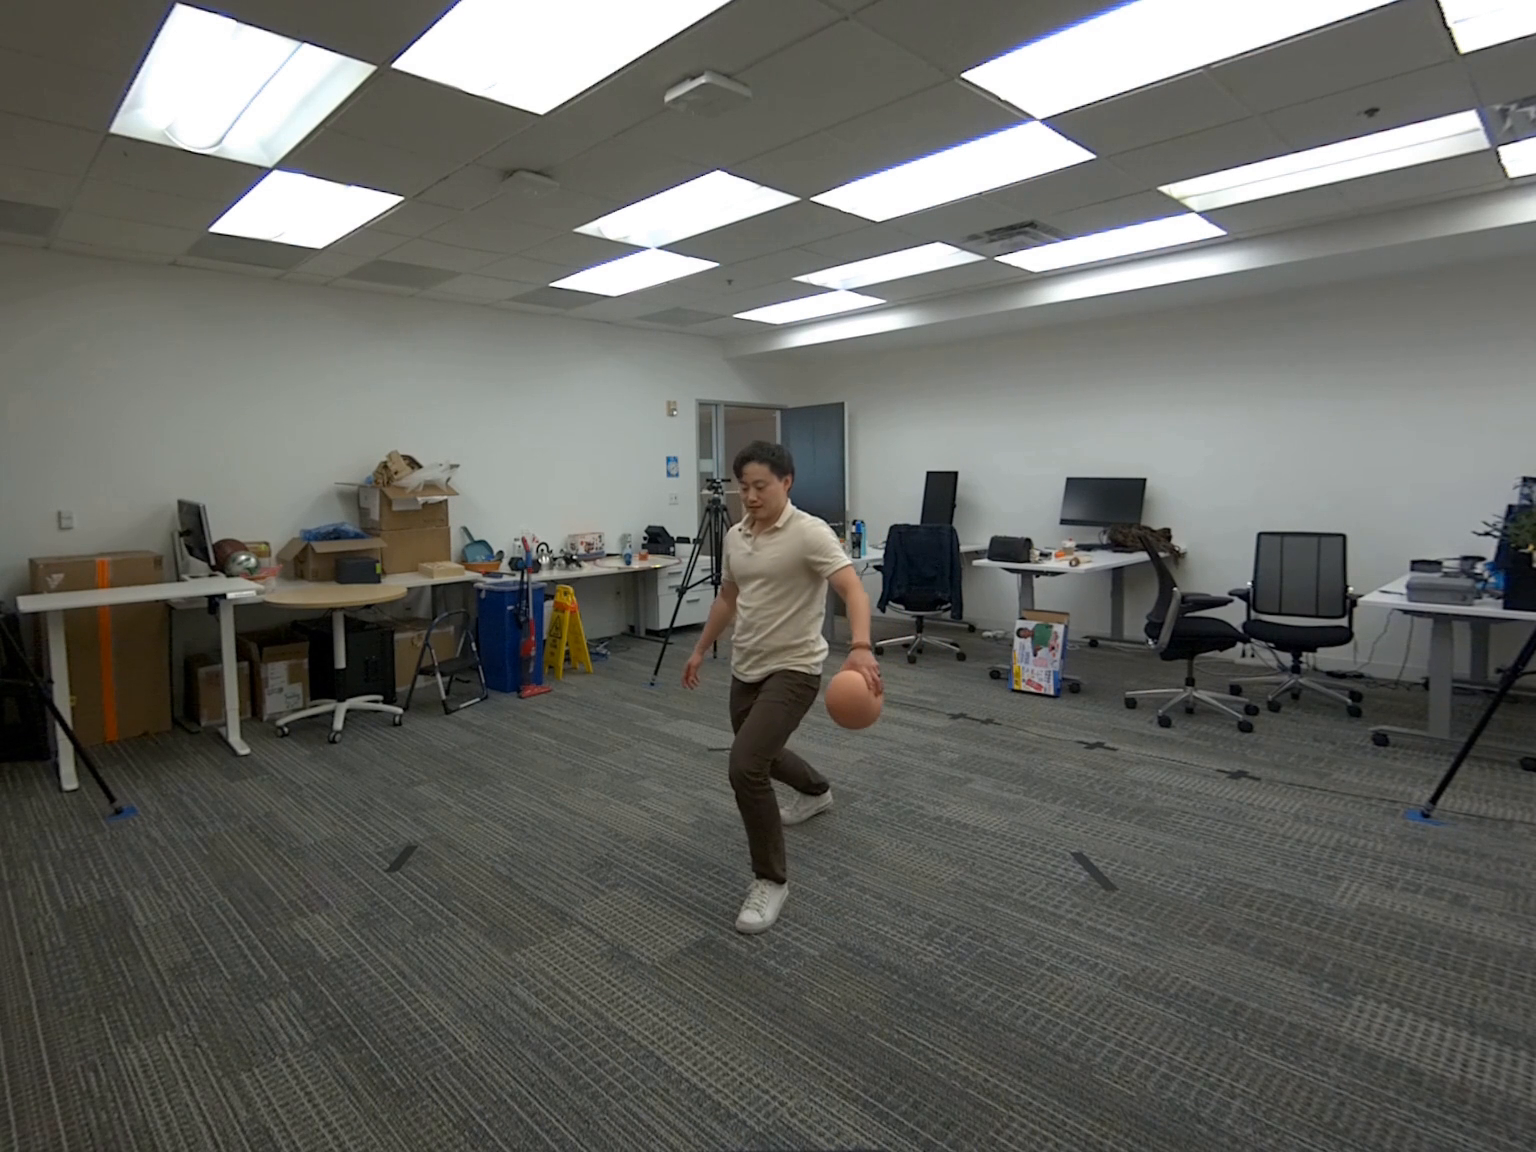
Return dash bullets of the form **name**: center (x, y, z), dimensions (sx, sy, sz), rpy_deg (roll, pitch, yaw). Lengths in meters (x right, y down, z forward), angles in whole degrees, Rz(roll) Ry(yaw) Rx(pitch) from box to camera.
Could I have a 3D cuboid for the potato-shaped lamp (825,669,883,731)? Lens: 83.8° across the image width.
- **potato-shaped lamp**: center (0.264, 0.365, 2.575), dimensions (0.170, 0.171, 0.191), rpy_deg (26, -26, 30)
